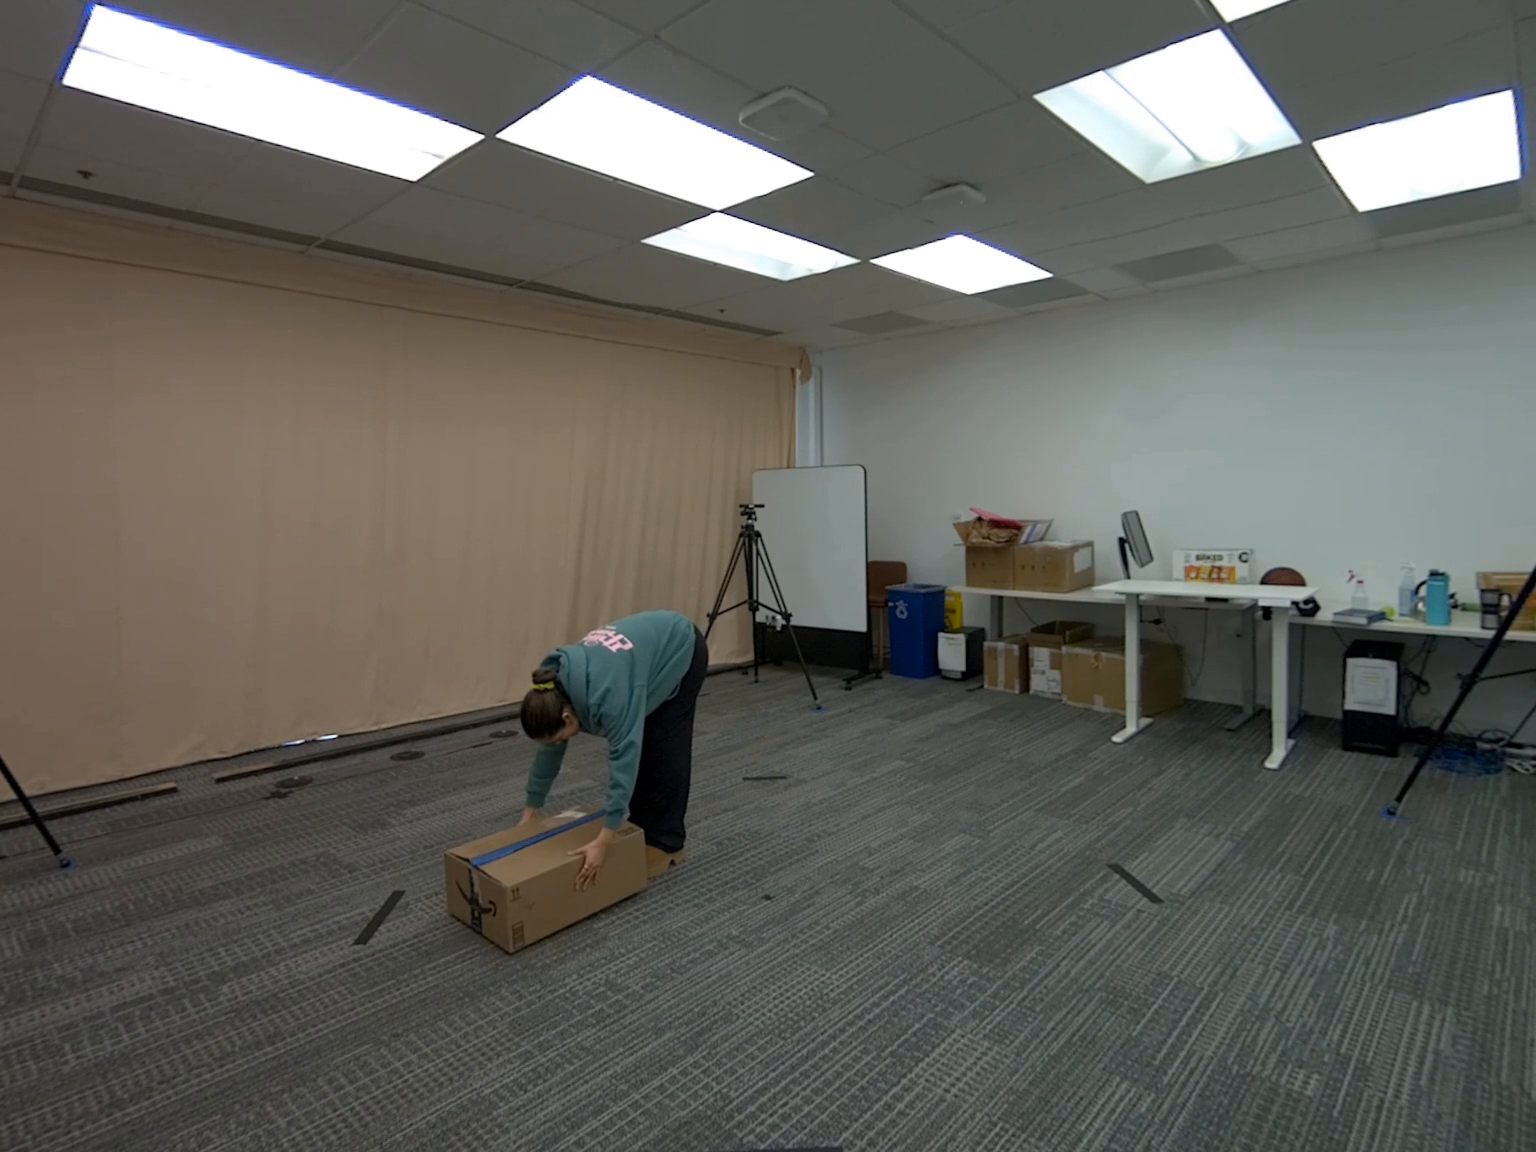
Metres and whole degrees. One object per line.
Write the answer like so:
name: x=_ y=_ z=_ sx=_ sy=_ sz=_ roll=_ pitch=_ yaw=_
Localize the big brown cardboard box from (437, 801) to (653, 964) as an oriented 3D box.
big brown cardboard box: x=-0.773 y=1.037 z=2.963 sx=0.431 sy=0.232 sz=0.572 roll=2 pitch=8 yaw=43
